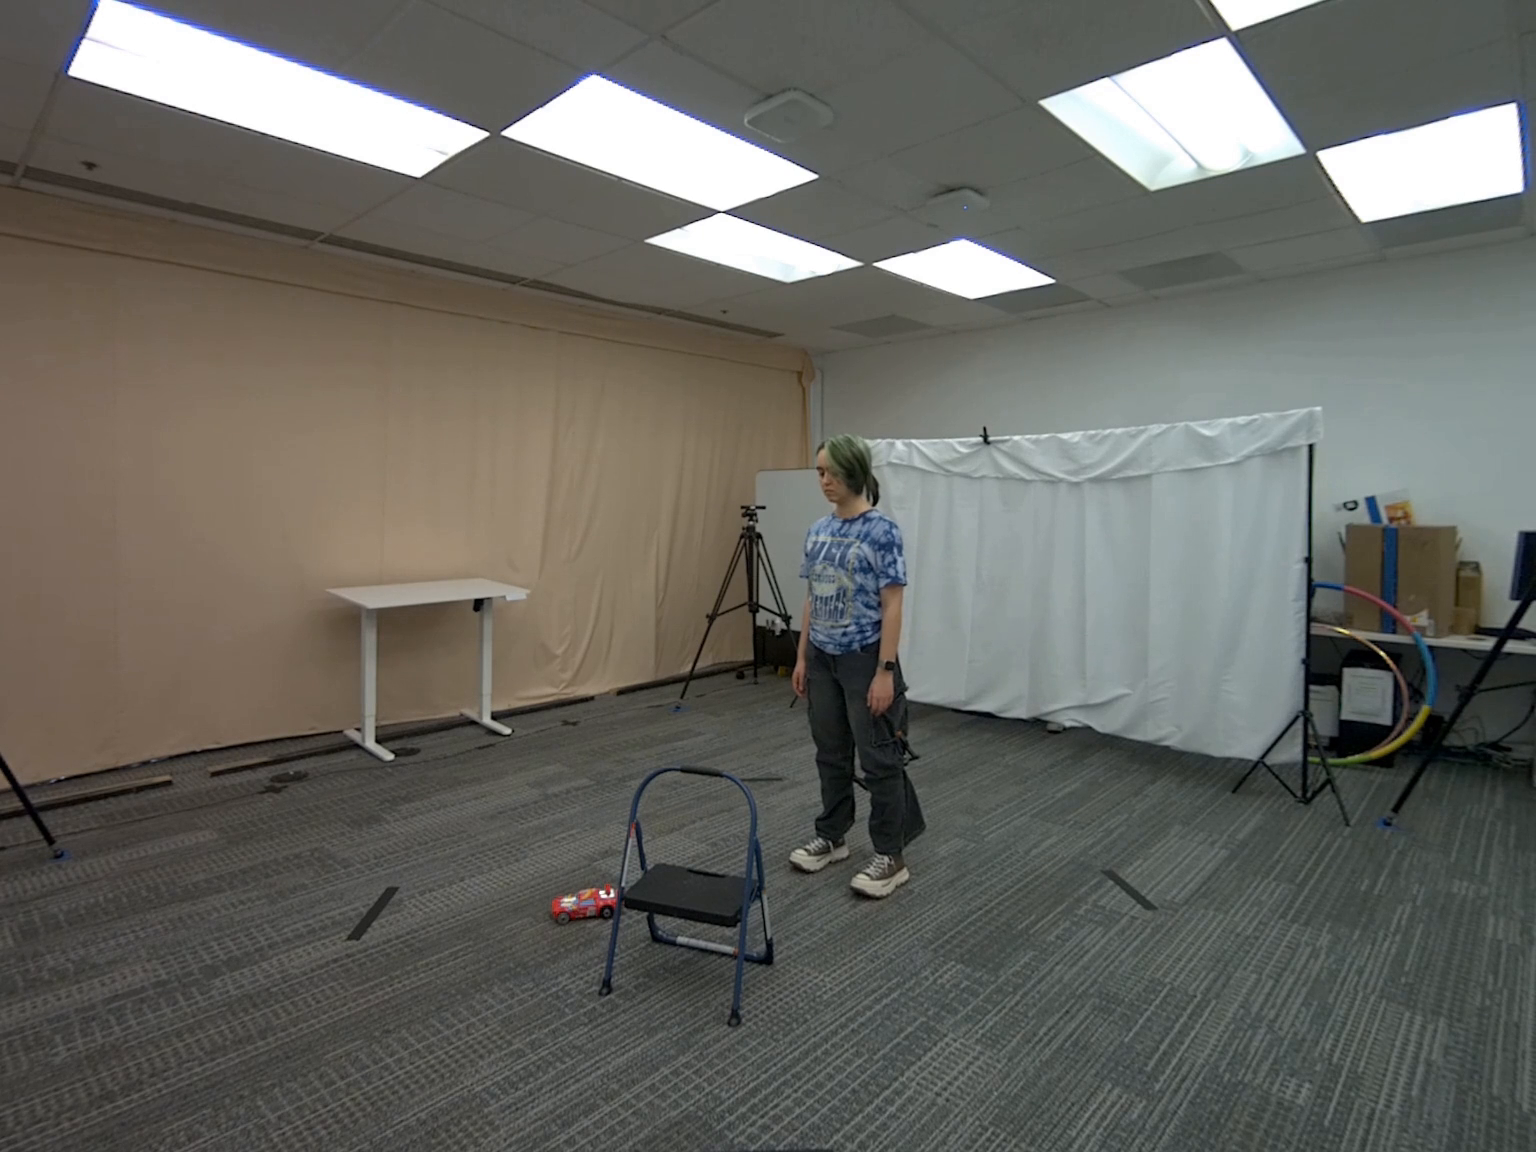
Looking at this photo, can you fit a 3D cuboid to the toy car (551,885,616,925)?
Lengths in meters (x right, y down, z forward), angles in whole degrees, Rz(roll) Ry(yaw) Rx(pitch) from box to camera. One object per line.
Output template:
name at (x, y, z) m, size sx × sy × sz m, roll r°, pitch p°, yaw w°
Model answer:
toy car at (-0.610, 1.125, 2.881) m, size 0.251 × 0.083 × 0.132 m, roll -12°, pitch 6°, yaw -13°
